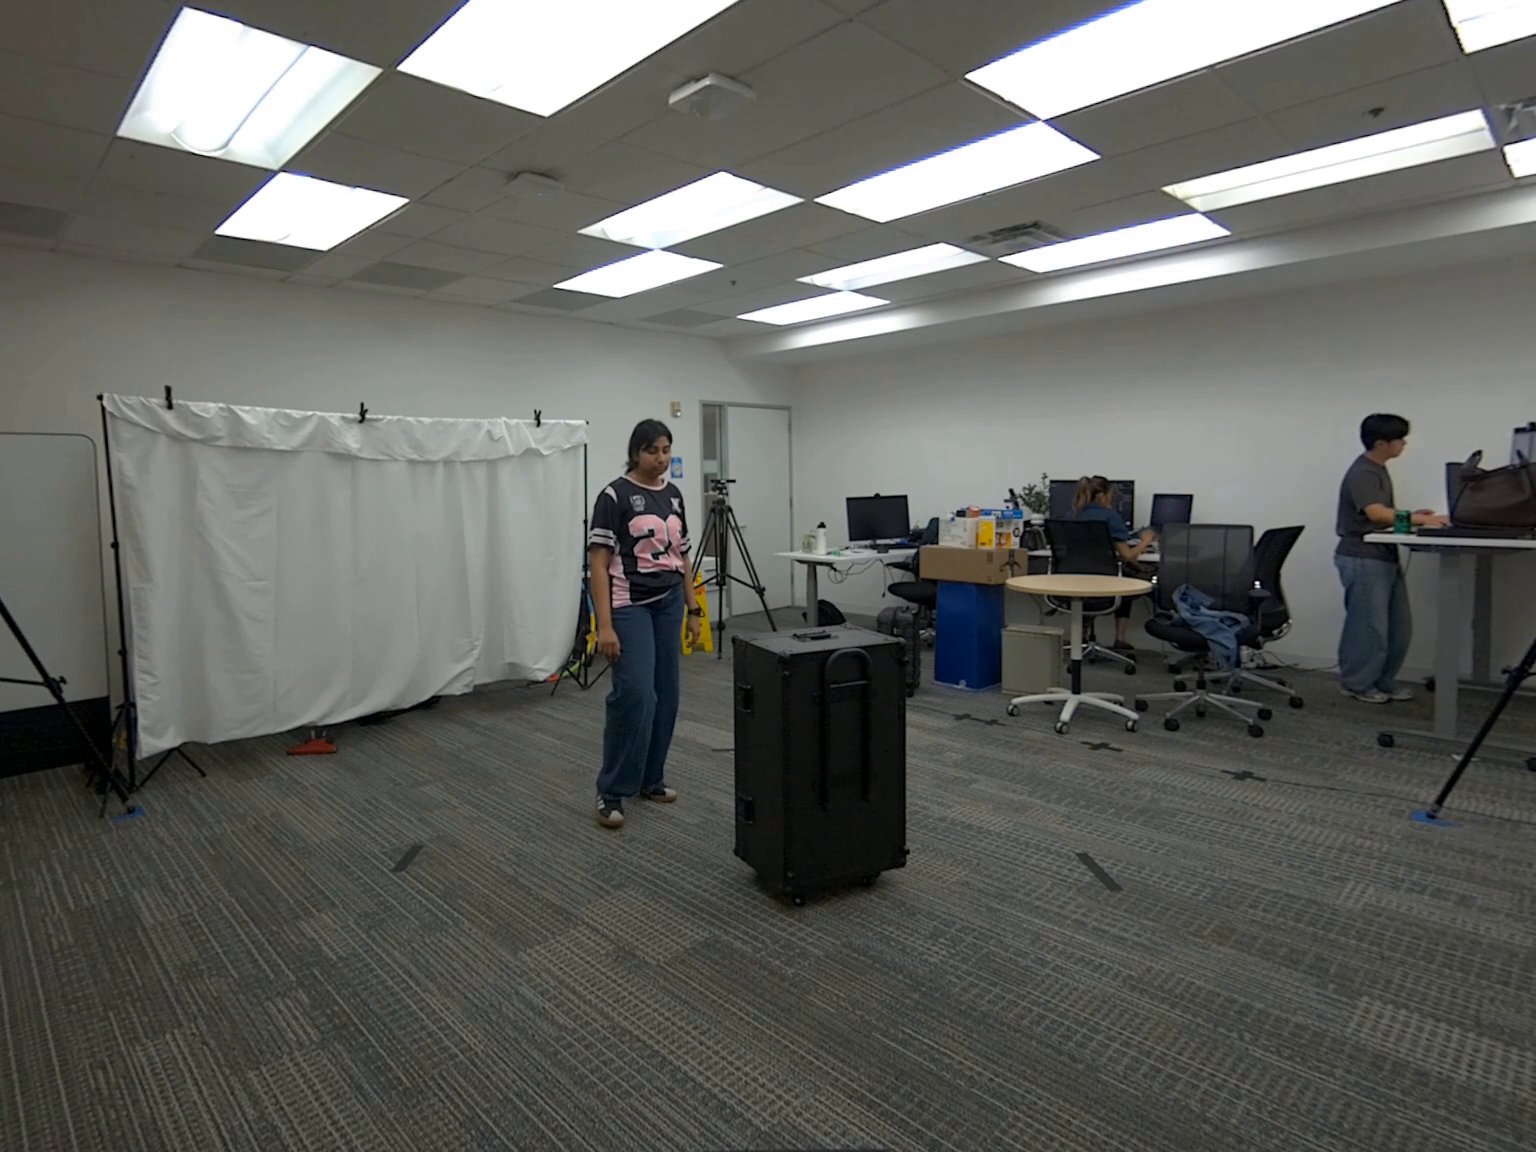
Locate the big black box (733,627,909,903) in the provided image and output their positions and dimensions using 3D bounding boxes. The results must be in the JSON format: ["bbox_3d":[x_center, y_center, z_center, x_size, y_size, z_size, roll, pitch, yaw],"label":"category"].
[{"bbox_3d":[0.184,0.639,2.950,0.512,0.865,0.395,-3,5,-27],"label":"big black box"}]
